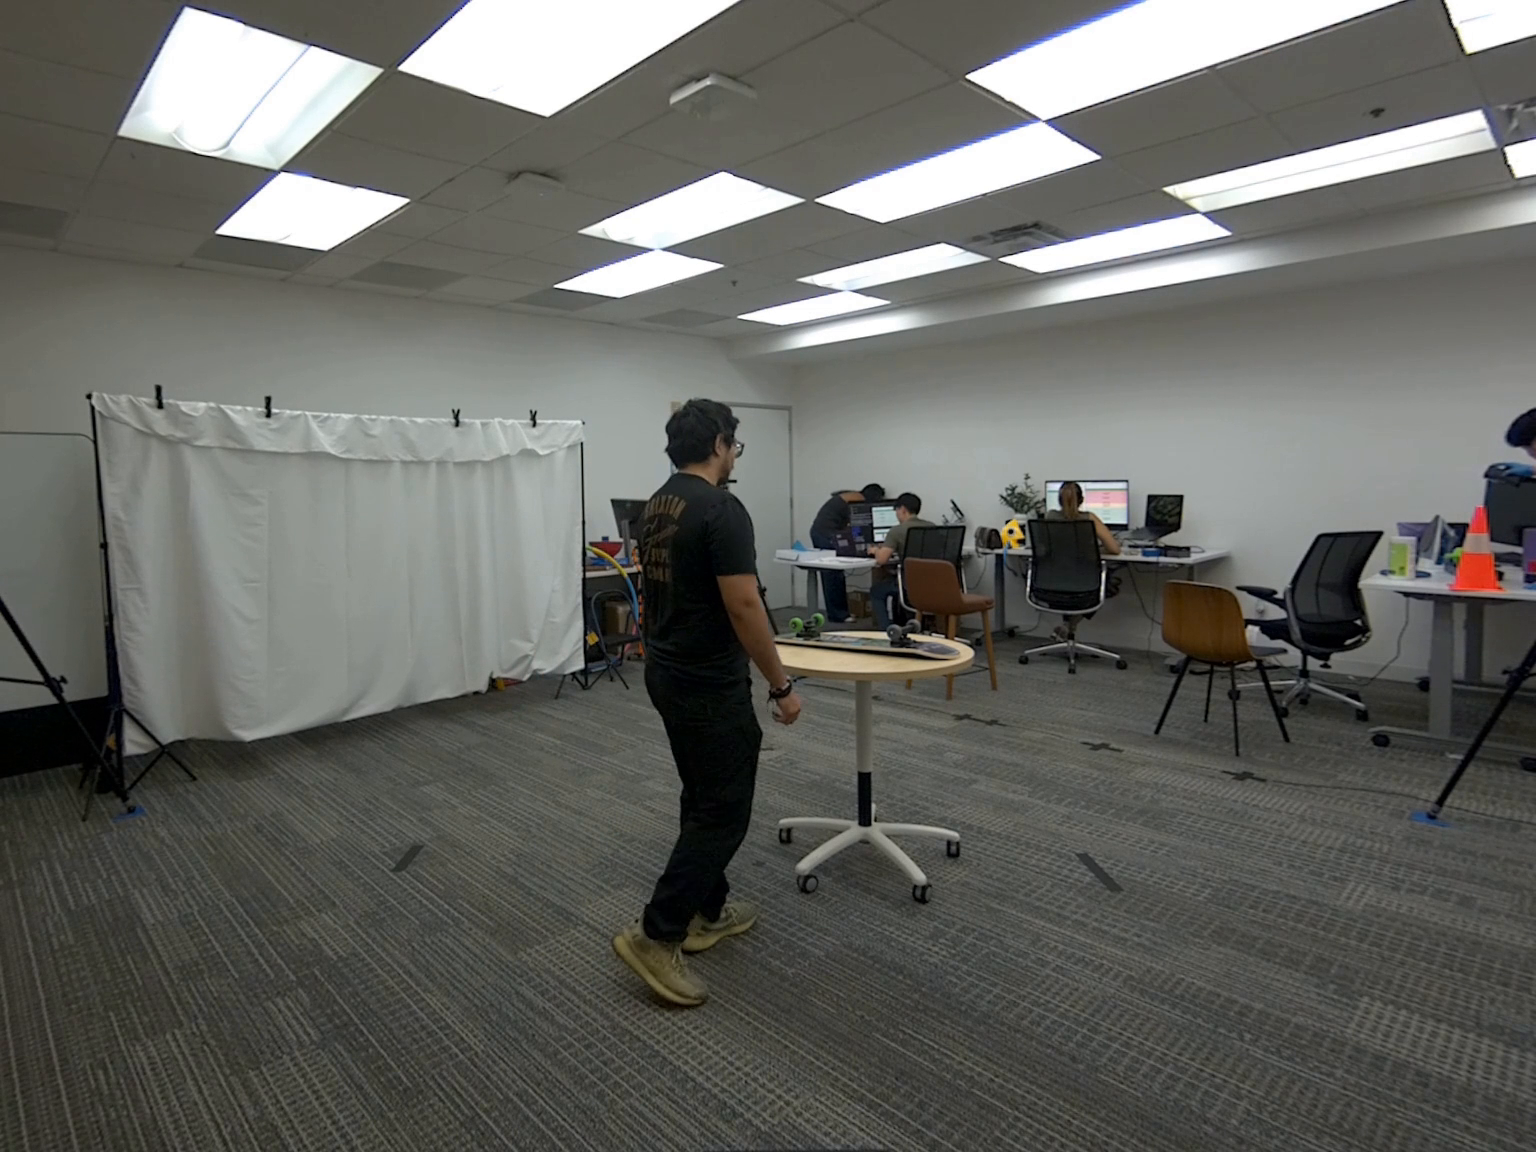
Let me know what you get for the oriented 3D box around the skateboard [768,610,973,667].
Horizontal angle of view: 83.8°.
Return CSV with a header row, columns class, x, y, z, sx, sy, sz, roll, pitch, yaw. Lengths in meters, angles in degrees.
class,x,y,z,sx,sy,sz,roll,pitch,yaw
skateboard,0.323,0.215,3.113,0.808,0.110,0.189,2,8,38
